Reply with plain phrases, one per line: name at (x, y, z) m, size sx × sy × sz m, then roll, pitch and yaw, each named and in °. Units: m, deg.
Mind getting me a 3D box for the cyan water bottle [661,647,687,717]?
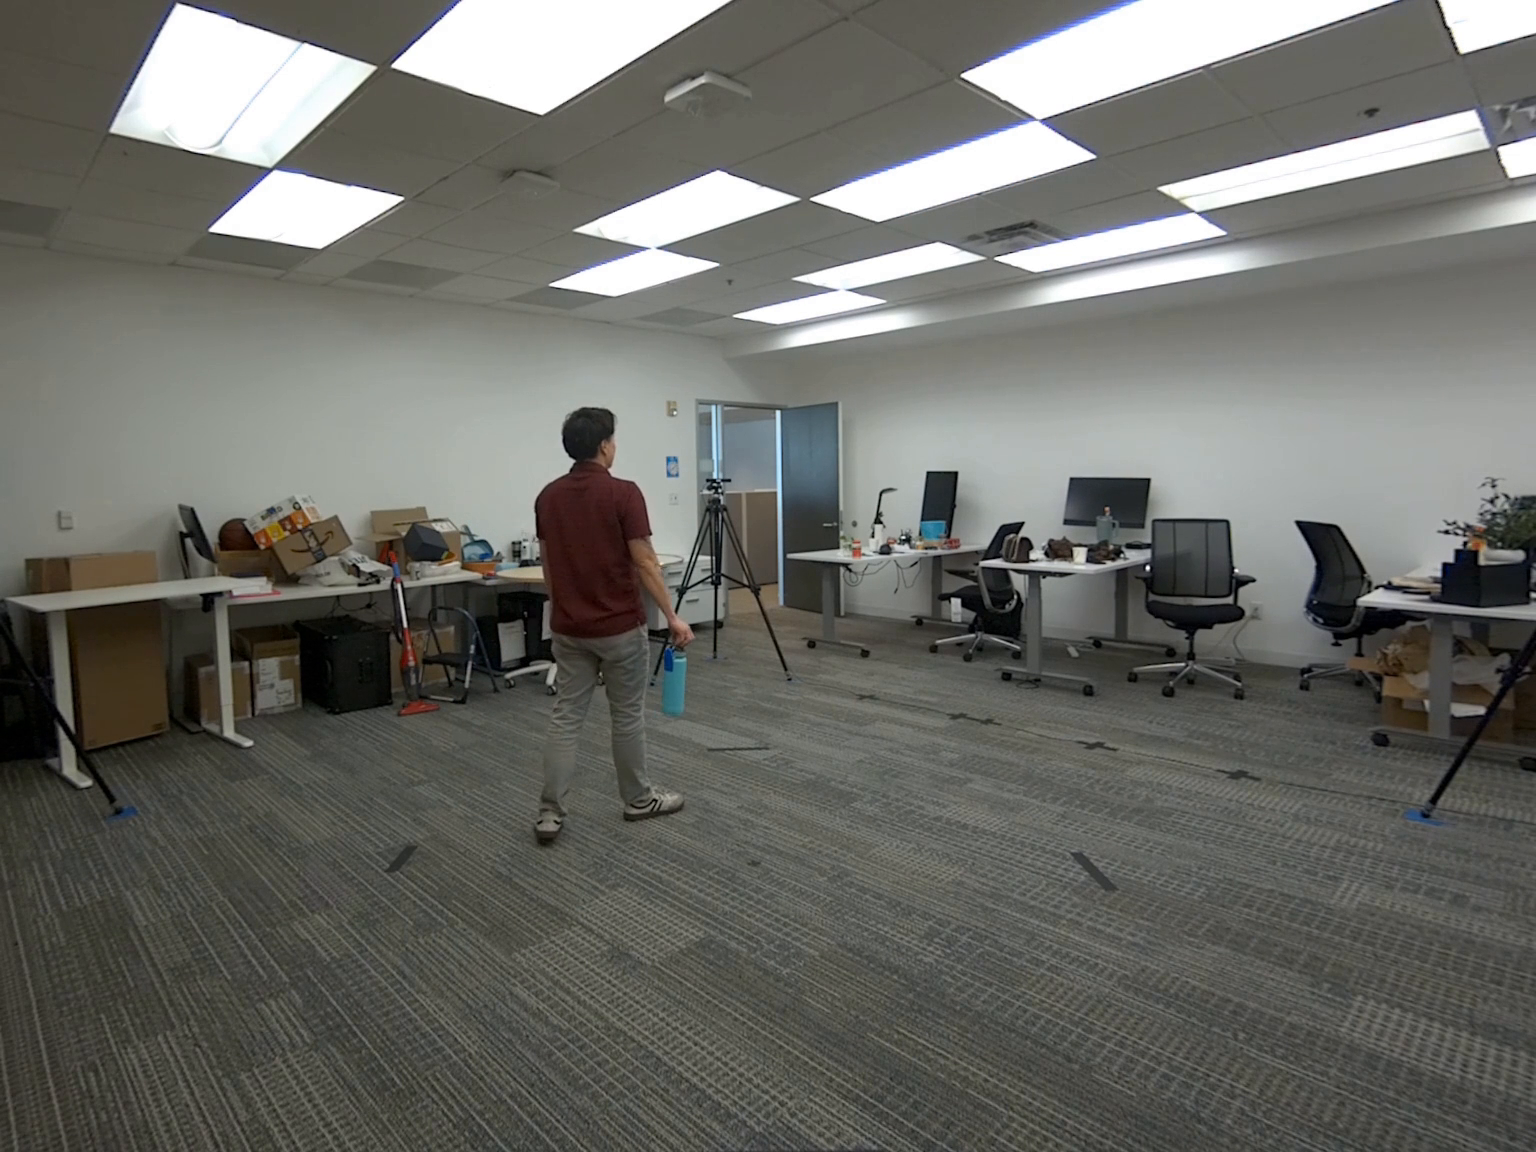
cyan water bottle at (-0.380, 0.403, 3.393) m, size 0.092 × 0.282 × 0.093 m, roll 3°, pitch 6°, yaw -2°
